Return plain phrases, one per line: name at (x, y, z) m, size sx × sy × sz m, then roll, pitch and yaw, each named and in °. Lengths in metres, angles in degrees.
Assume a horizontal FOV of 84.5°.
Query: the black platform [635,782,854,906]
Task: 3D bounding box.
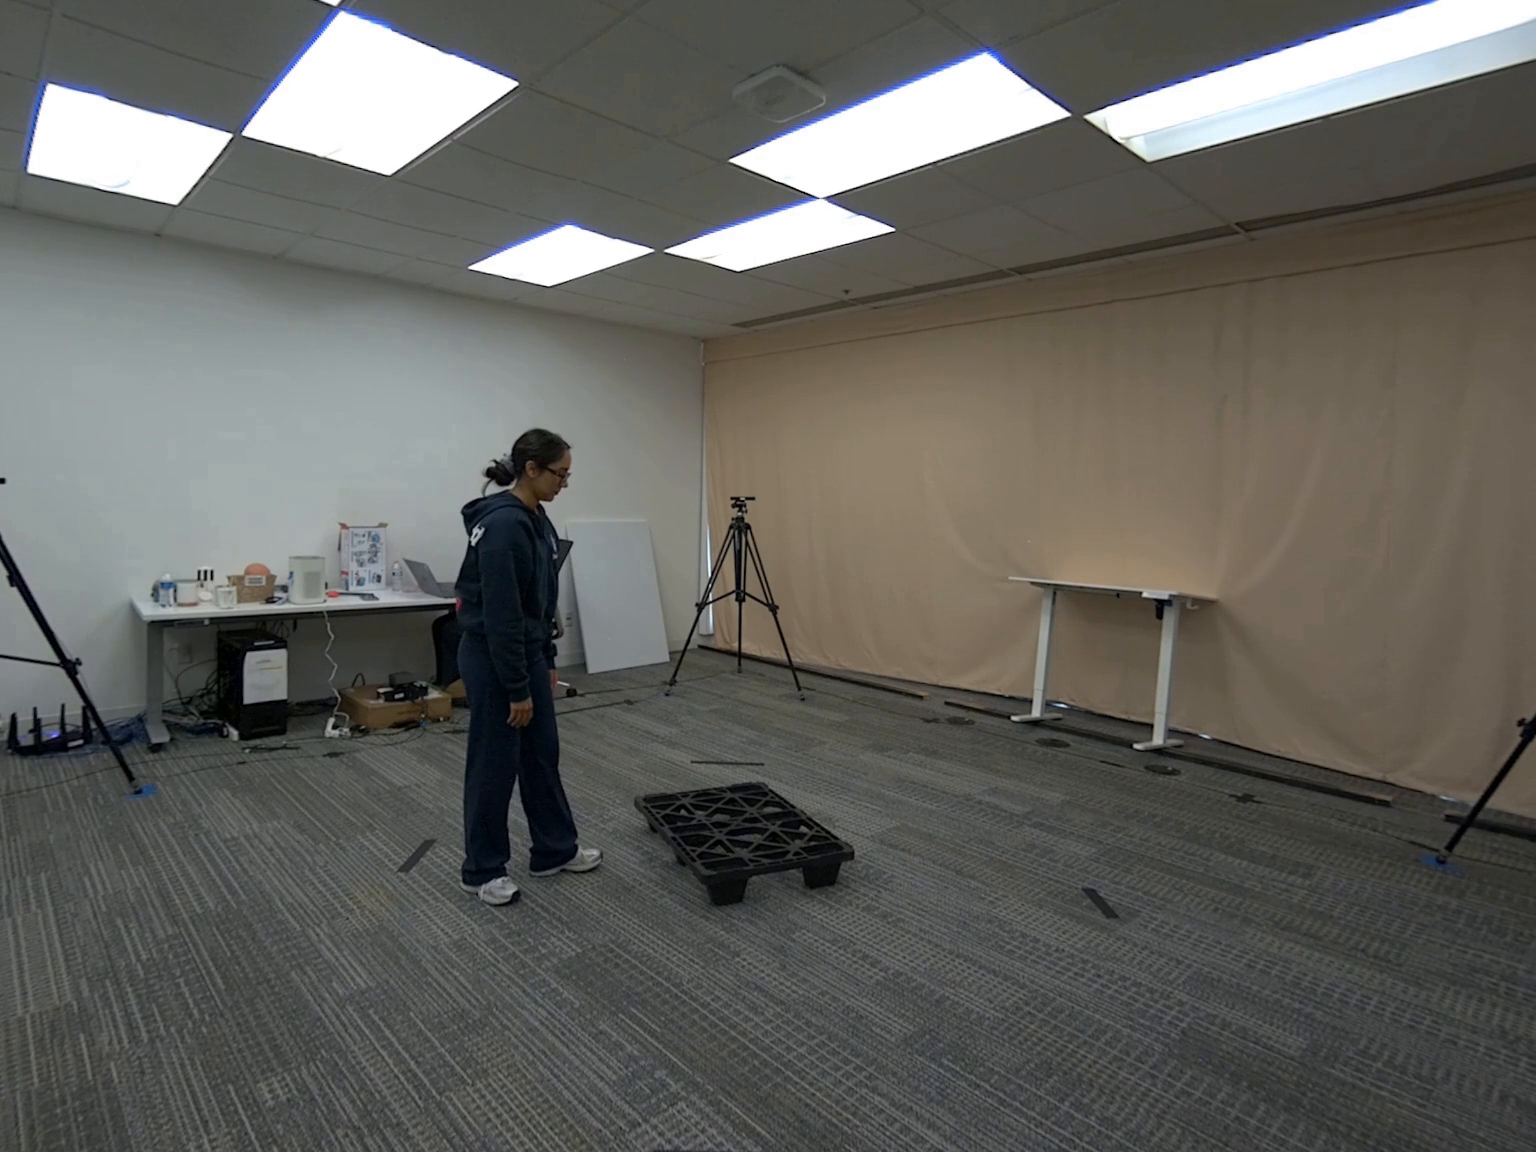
black platform at (-0.131, 1.023, 3.291) m, size 0.594 × 0.143 × 0.822 m, roll 0°, pitch 5°, yaw -25°
